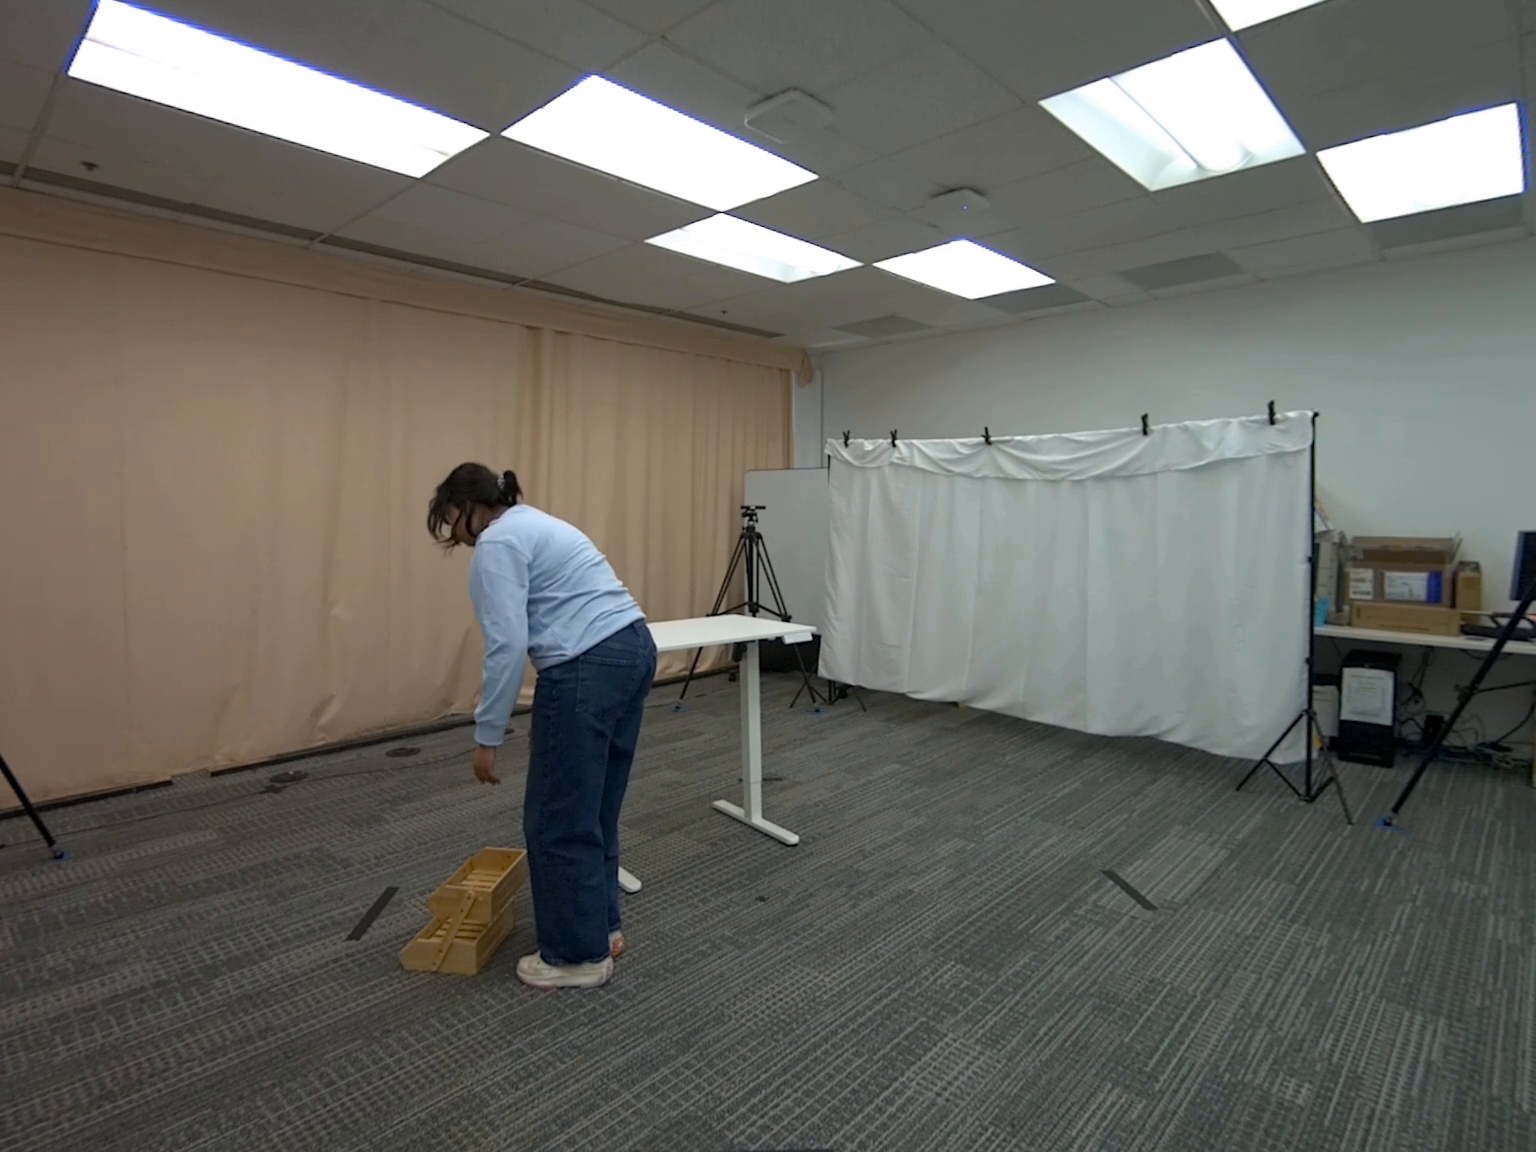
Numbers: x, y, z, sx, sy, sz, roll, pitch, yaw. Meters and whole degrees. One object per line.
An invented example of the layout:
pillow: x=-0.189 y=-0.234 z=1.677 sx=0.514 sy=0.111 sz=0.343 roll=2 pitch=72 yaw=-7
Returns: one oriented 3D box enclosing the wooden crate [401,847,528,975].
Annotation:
wooden crate: x=-0.964 y=1.051 z=2.661 sx=0.304 sy=0.273 sz=0.322 roll=1 pitch=4 yaw=6
